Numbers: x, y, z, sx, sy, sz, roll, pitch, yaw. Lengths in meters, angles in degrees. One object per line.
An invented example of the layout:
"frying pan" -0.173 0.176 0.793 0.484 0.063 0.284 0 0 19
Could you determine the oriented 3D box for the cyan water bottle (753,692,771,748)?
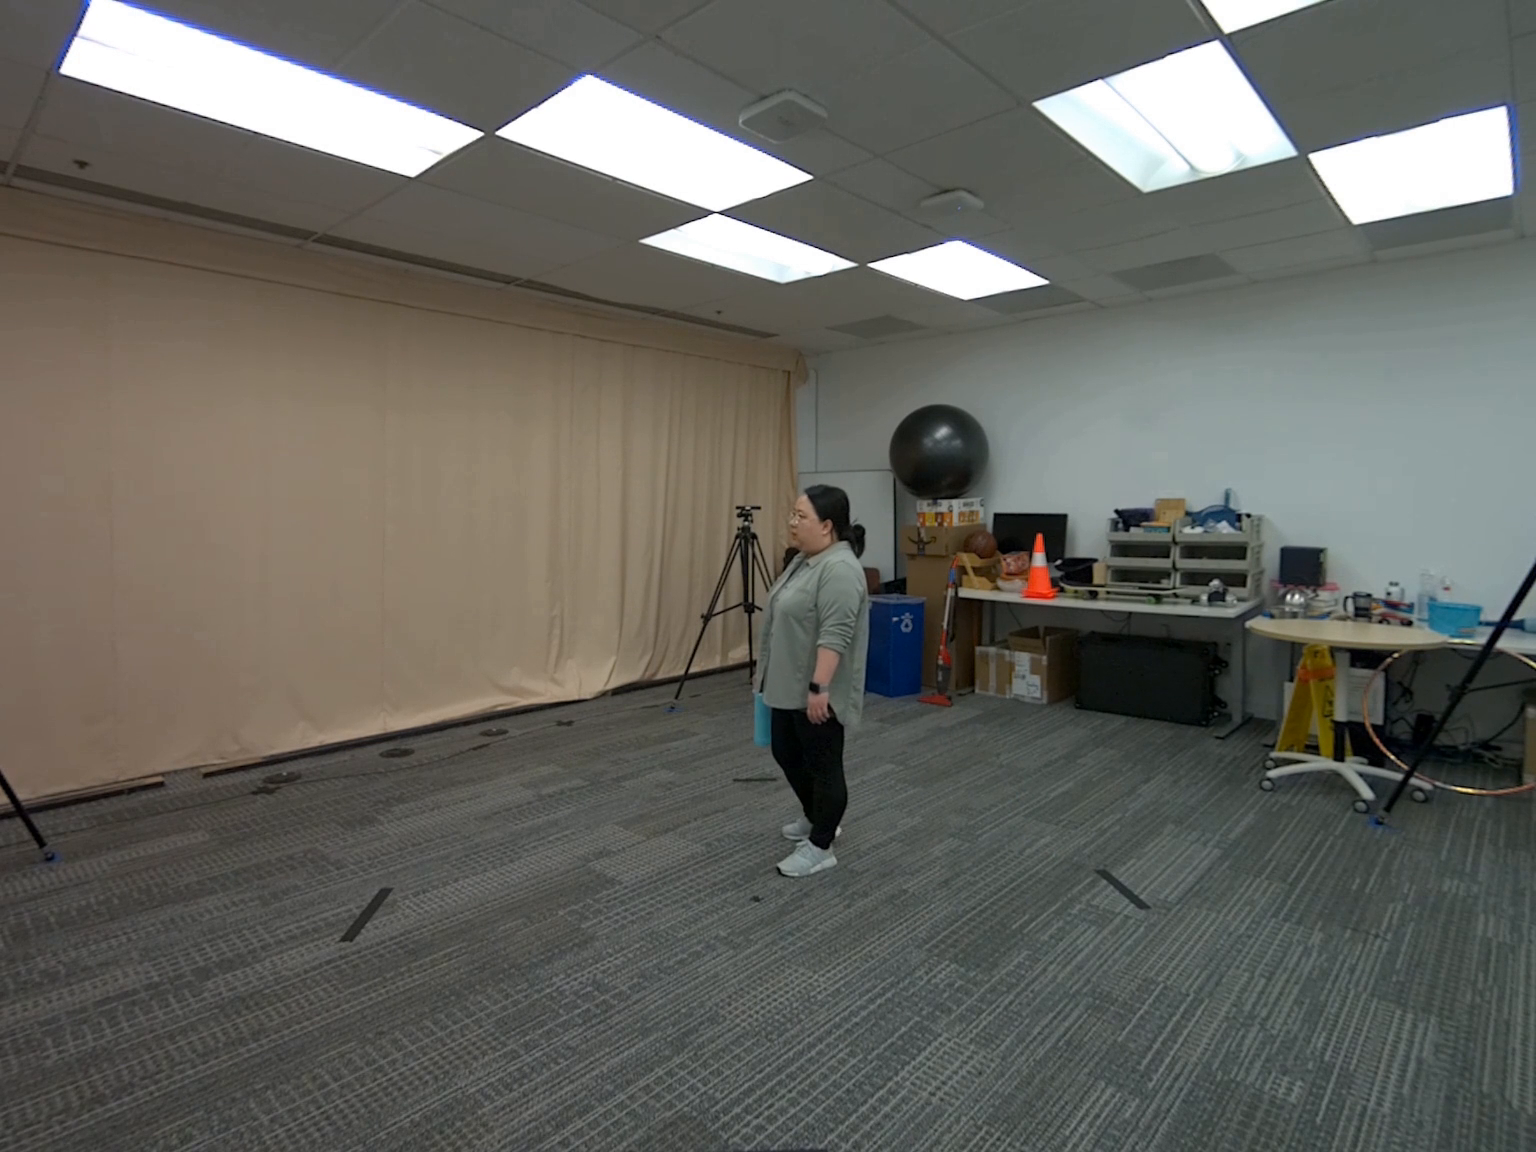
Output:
"cyan water bottle" -0.007 0.563 3.537 0.092 0.283 0.093 0 4 -2
